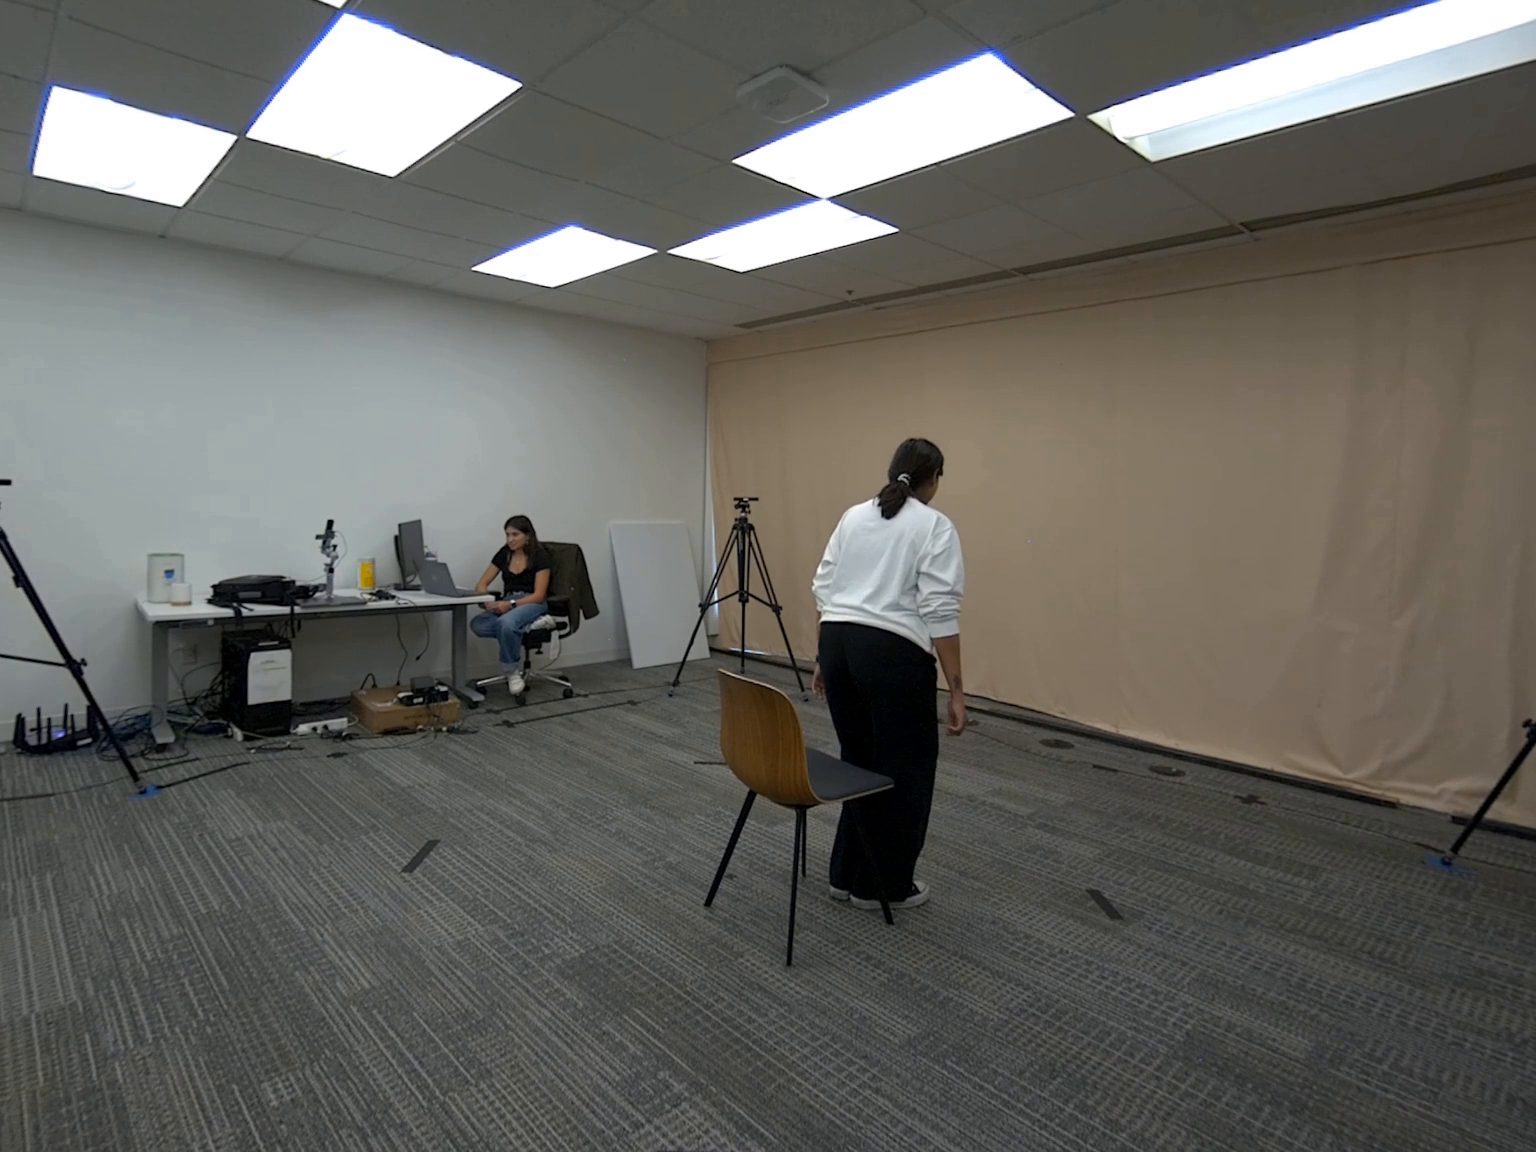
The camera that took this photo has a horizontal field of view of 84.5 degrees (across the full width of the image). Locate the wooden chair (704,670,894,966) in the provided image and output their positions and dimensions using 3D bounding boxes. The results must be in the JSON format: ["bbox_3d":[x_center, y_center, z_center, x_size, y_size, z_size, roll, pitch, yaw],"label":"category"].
[{"bbox_3d":[0.105,0.713,2.791,0.512,0.873,0.490,-7,7,-37],"label":"wooden chair"}]
